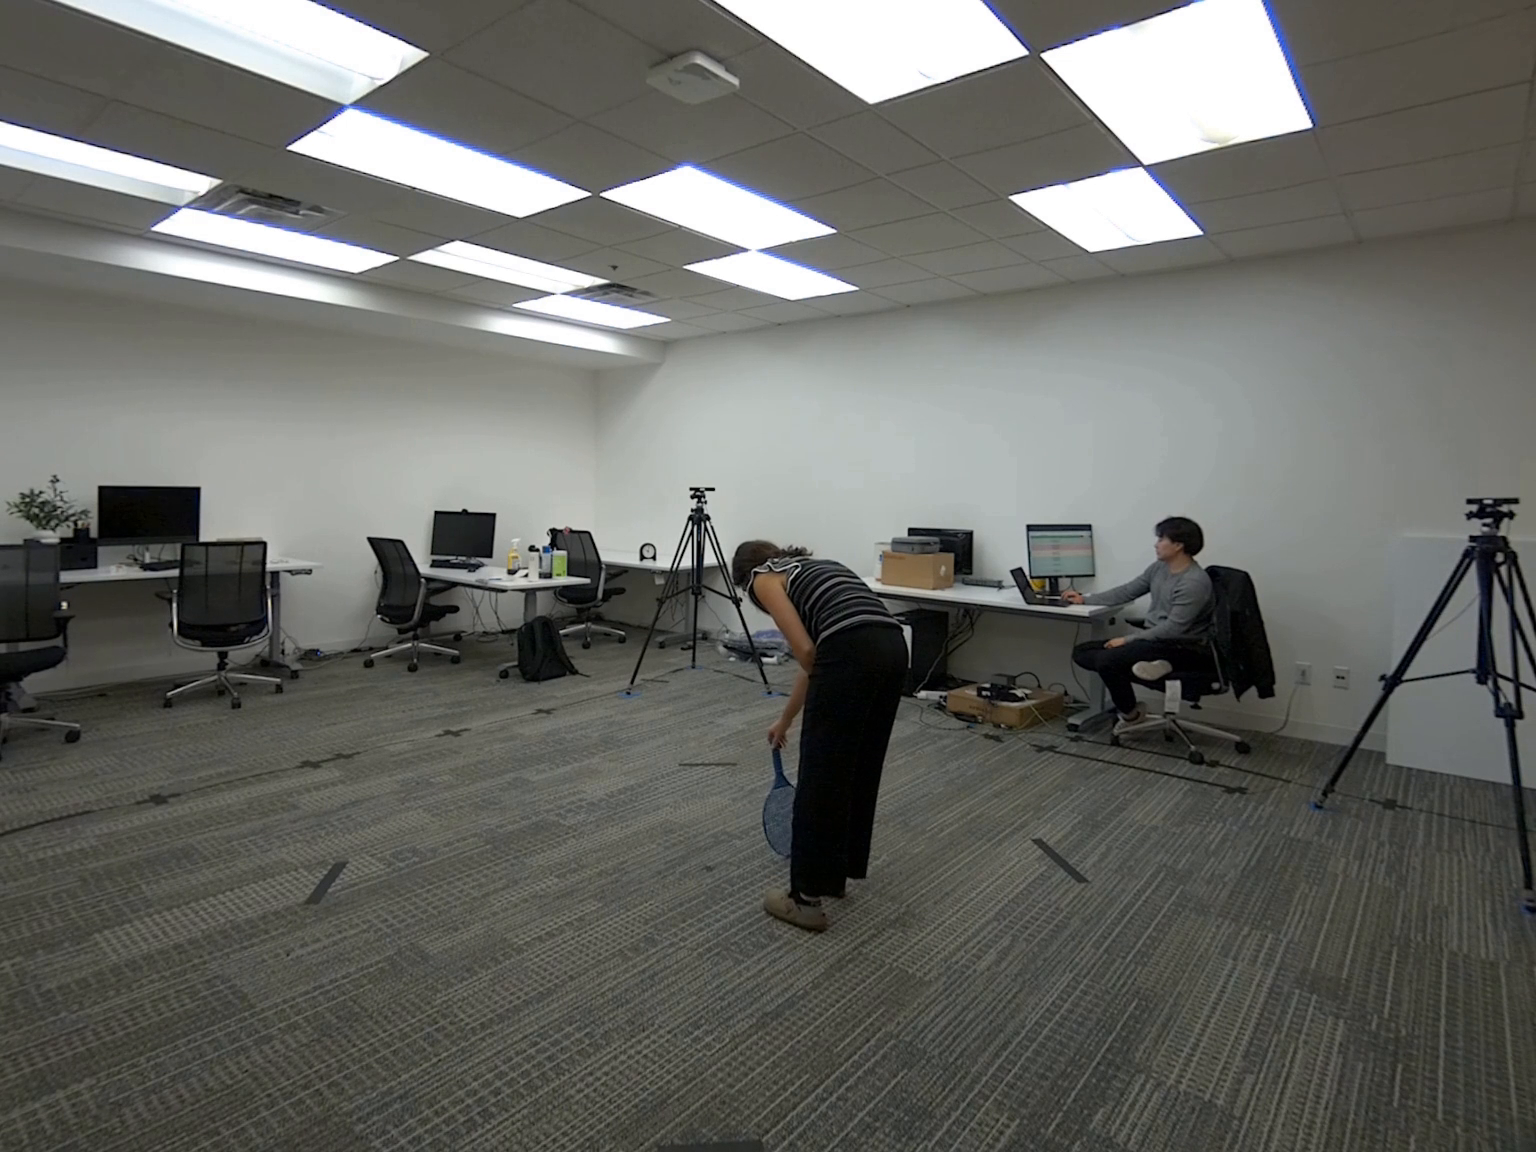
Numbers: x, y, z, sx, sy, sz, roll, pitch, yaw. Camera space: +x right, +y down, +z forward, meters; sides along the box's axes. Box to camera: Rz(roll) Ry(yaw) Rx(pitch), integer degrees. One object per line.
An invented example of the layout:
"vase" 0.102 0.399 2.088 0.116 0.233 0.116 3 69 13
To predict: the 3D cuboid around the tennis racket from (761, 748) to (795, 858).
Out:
"tennis racket" 0.052 0.845 3.250 0.208 0.436 0.032 -5 -7 -33
